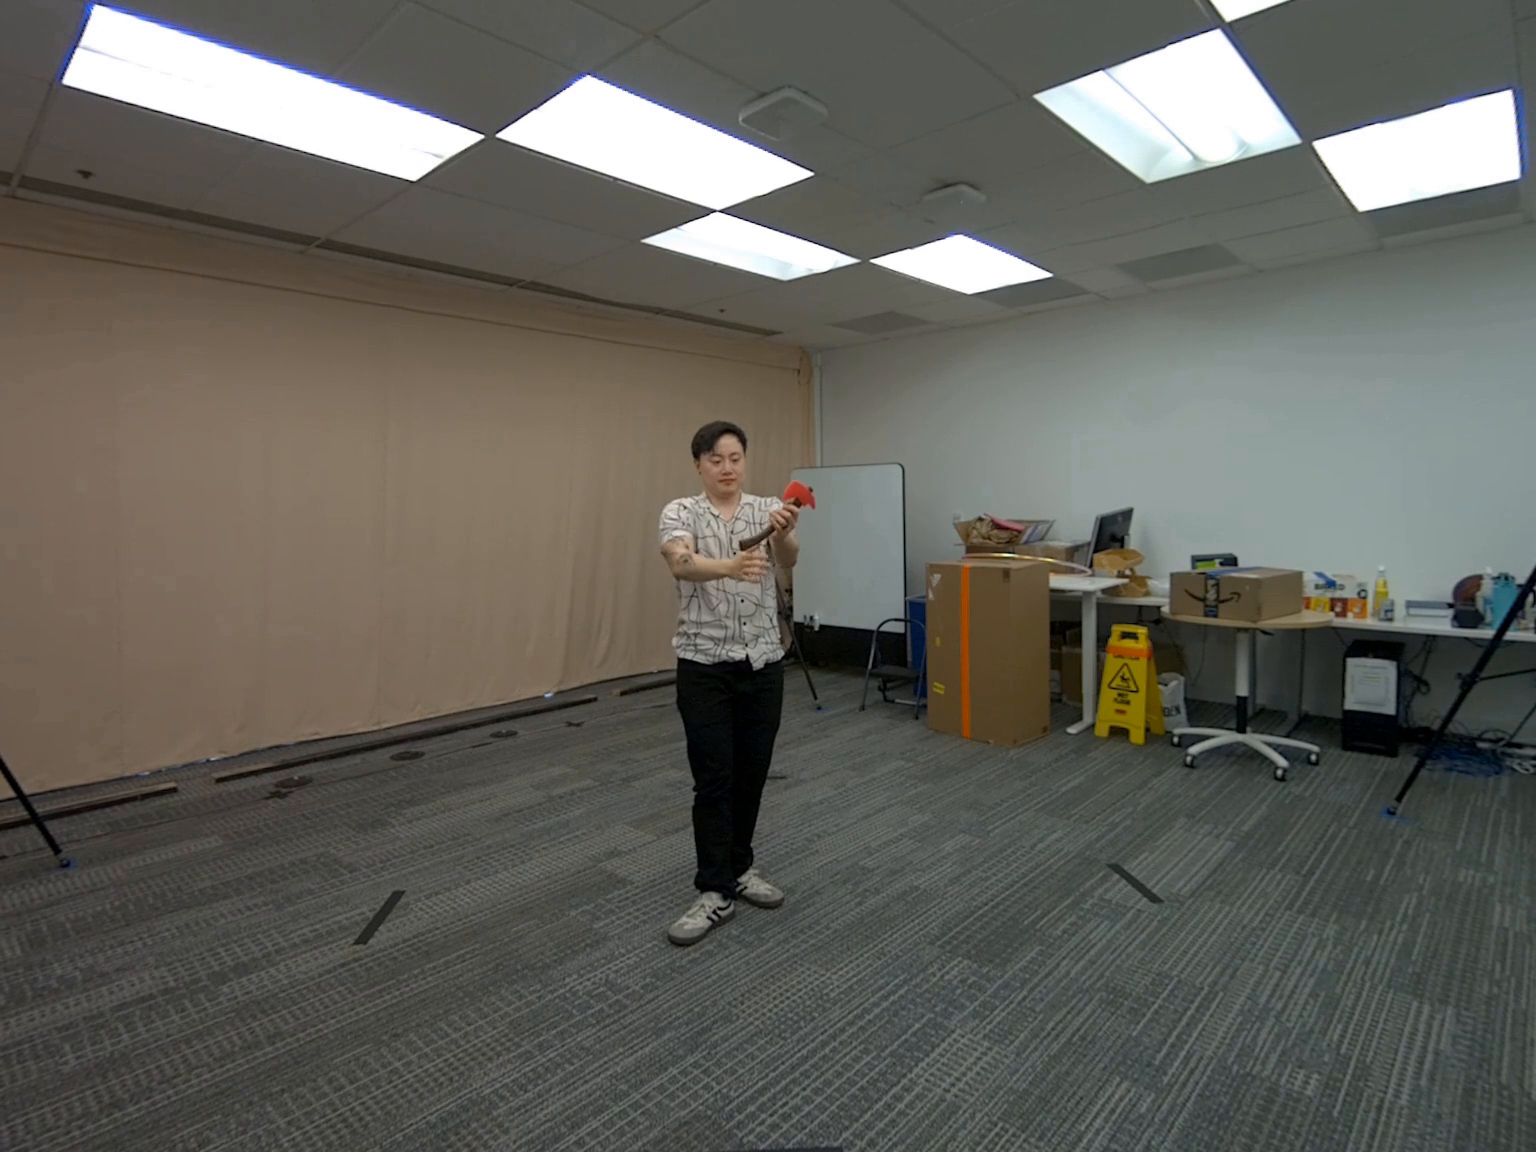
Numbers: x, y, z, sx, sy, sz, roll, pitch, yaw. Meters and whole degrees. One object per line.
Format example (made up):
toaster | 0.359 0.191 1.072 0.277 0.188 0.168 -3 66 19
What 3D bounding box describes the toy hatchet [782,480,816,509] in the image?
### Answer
toy hatchet | 0.009 -0.185 2.415 0.268 0.127 0.030 -30 43 -14
